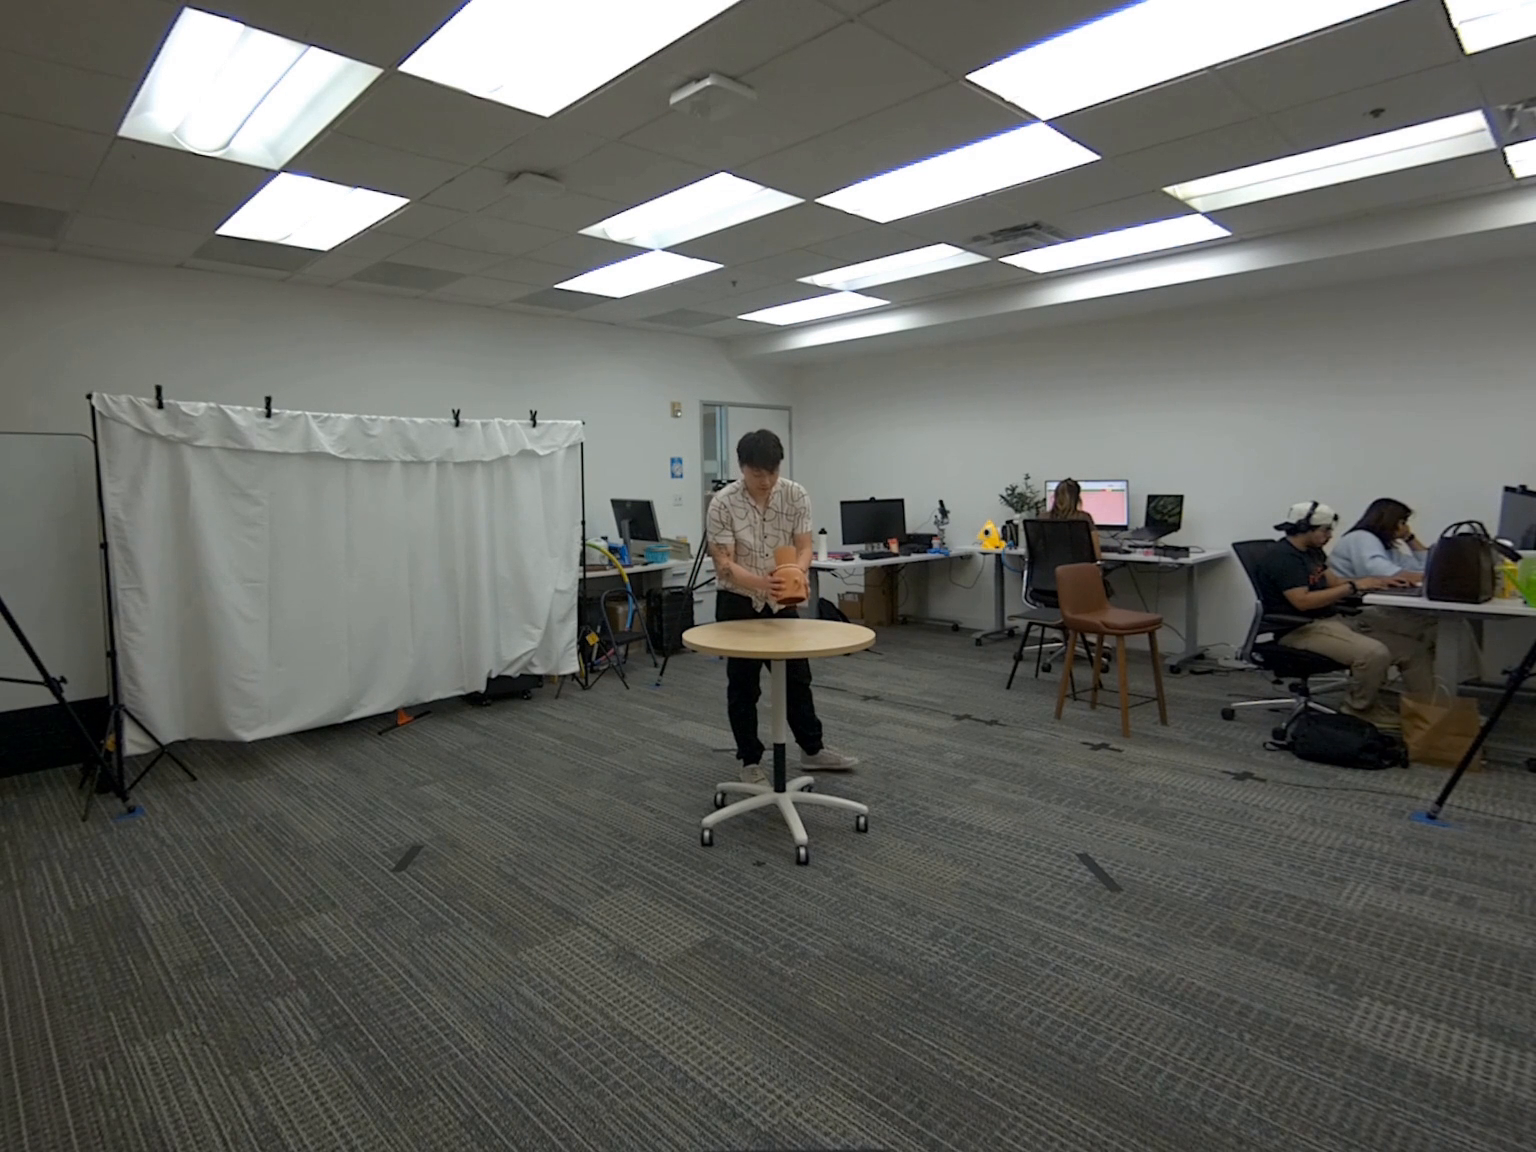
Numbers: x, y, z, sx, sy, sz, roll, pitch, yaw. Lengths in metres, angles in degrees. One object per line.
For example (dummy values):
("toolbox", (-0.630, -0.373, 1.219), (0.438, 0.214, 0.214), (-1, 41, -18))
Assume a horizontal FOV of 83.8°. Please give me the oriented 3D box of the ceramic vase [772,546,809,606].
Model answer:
("ceramic vase", (0.074, 0.000, 3.492), (0.161, 0.224, 0.130), (-15, -21, 26))
